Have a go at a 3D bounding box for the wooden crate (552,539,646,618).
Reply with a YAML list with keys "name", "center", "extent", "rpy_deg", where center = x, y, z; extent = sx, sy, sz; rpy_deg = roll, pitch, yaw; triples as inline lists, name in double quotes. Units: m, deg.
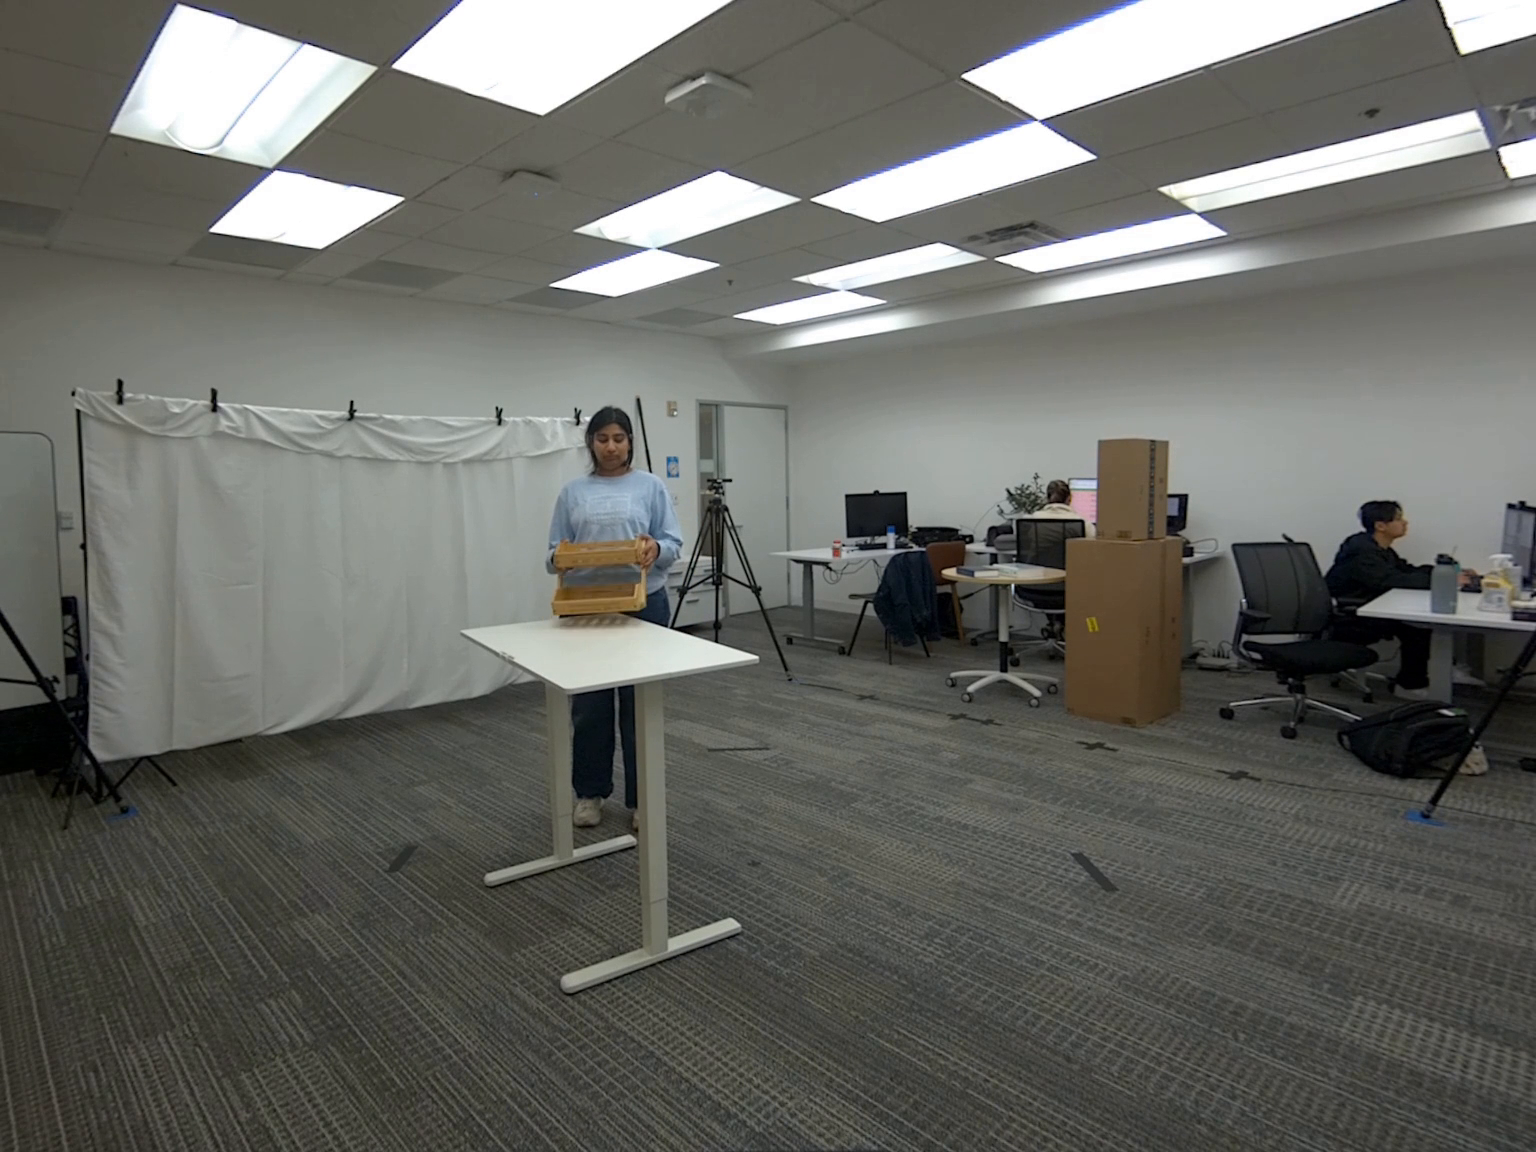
- name: "wooden crate"
  center: [-0.625, -0.005, 3.148]
  extent: [0.325, 0.274, 0.301]
  rpy_deg: [-4, 0, 3]
